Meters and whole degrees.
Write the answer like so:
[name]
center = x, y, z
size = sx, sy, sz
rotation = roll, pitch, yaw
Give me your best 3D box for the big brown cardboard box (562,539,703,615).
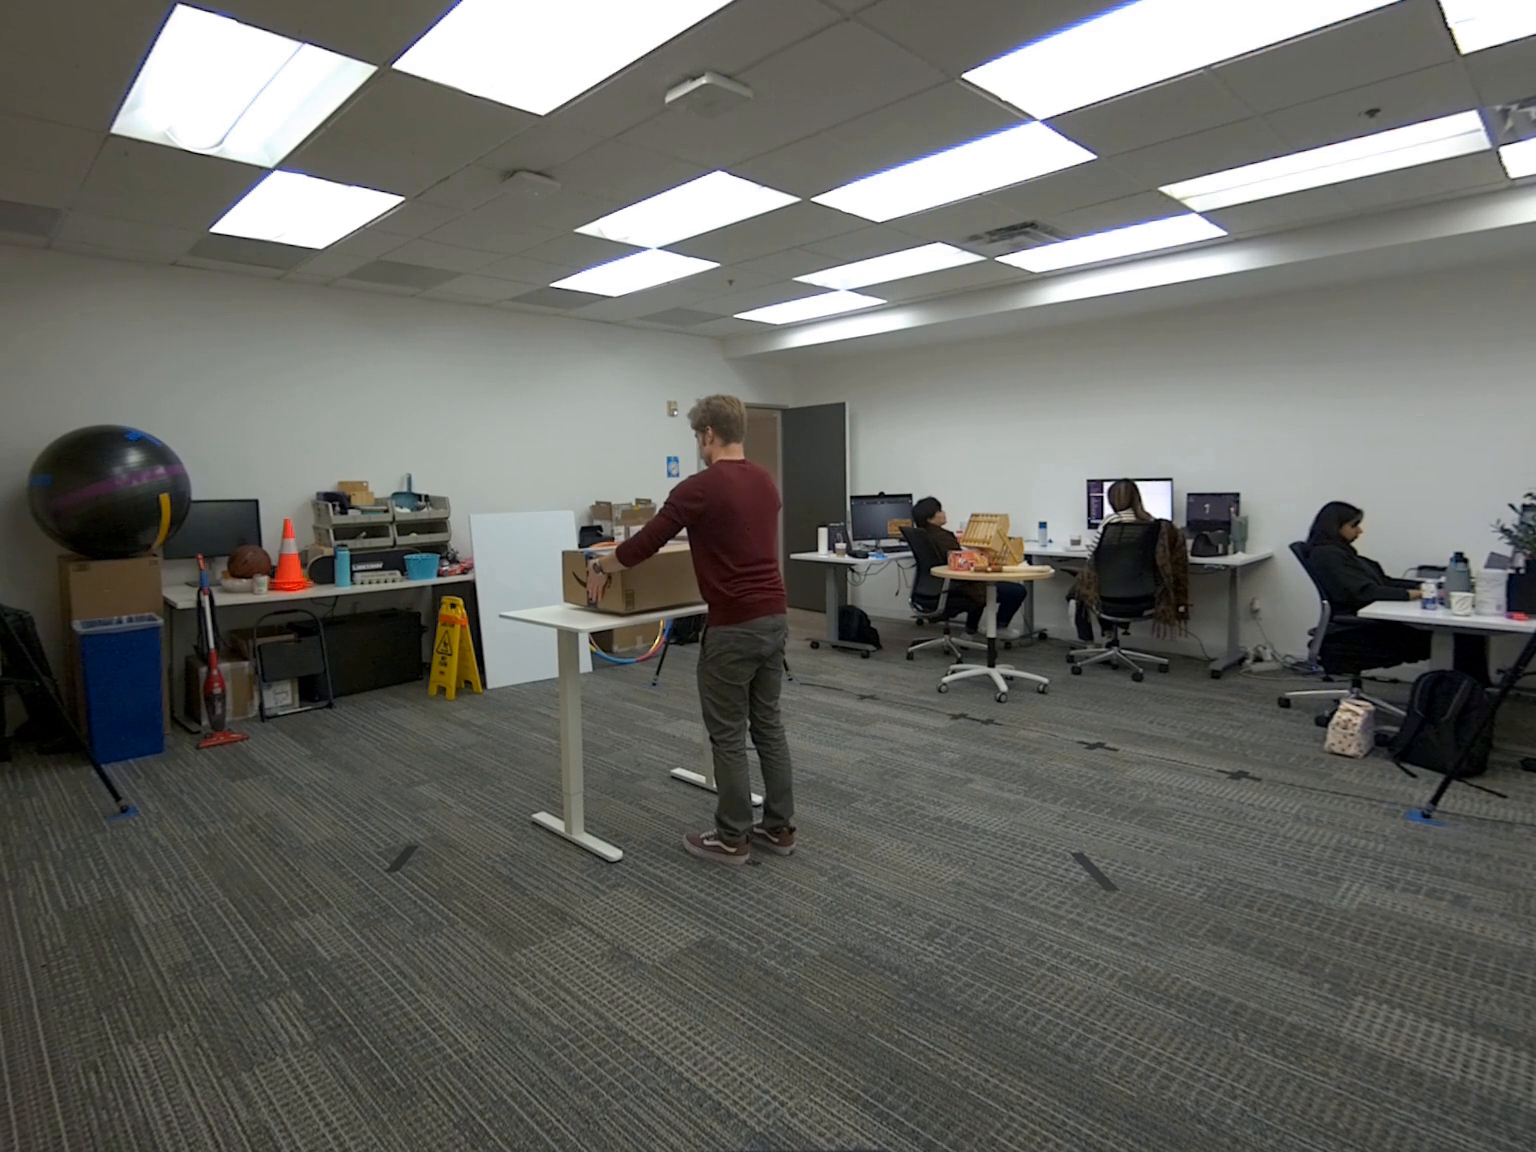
[big brown cardboard box]
center = -0.503, -0.016, 3.544
size = 0.431, 0.232, 0.574
rotation = 5, 9, 44
